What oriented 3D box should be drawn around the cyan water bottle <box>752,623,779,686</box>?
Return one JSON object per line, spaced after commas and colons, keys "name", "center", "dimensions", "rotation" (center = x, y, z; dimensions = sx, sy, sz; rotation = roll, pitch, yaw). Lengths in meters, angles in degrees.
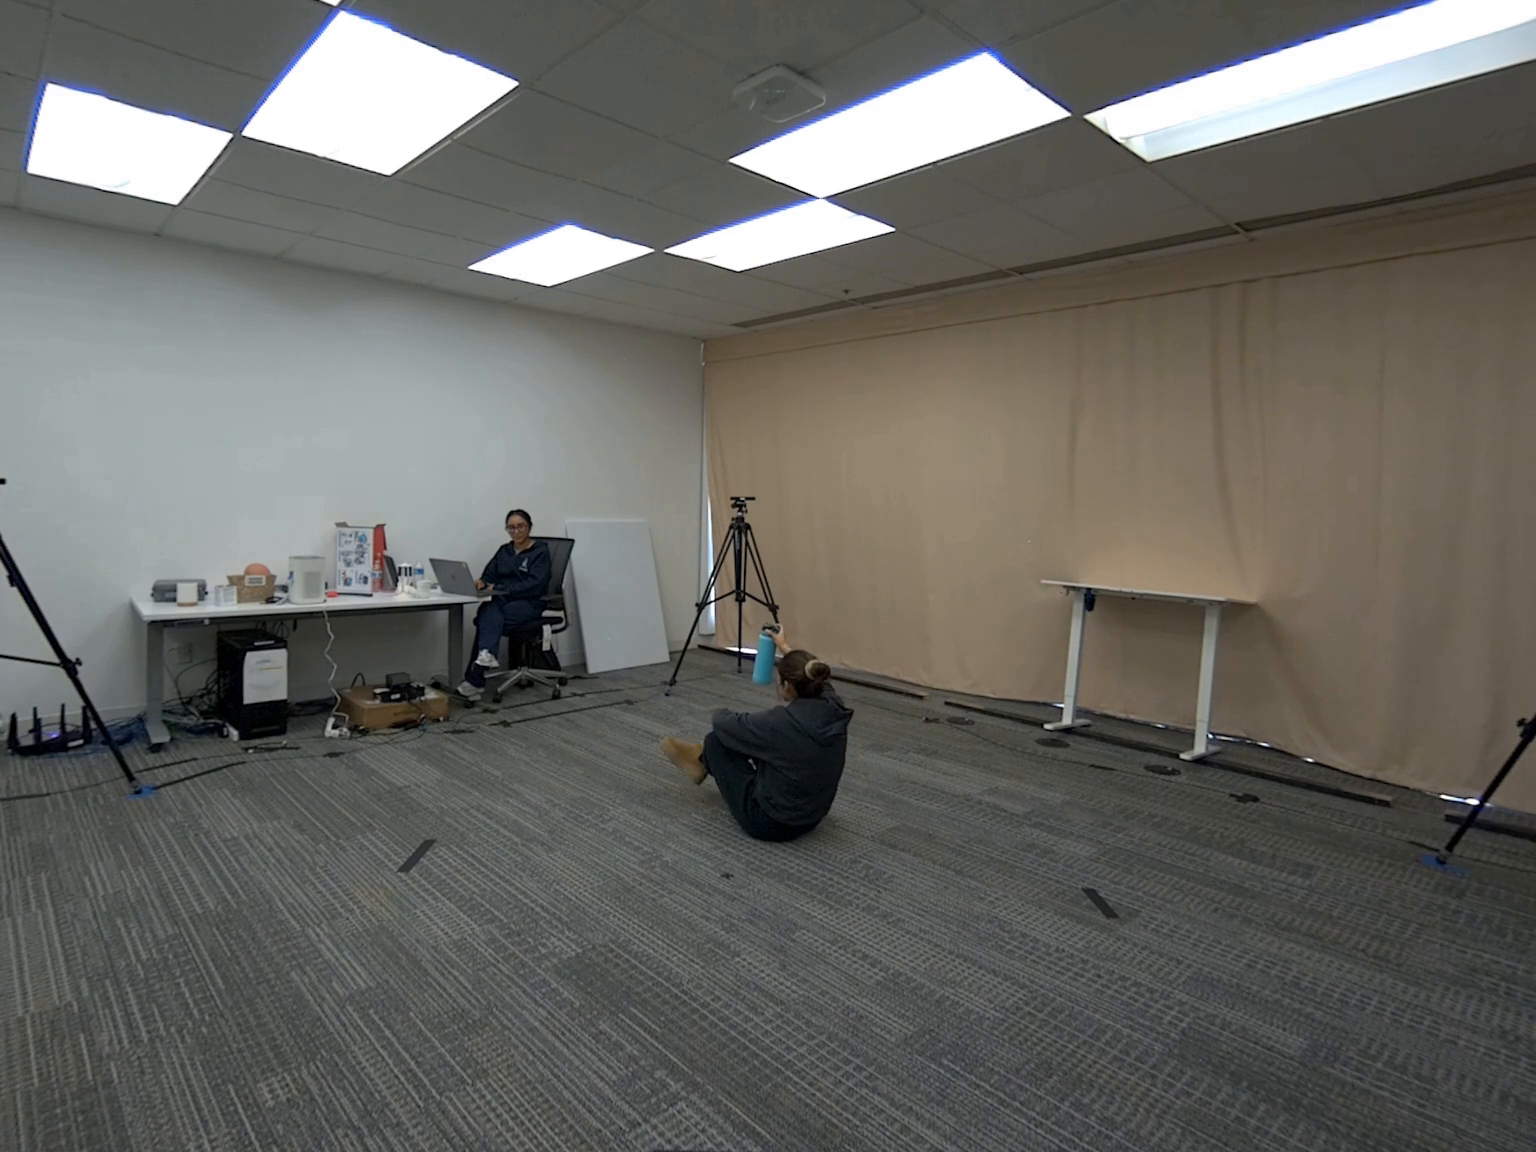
{"name": "cyan water bottle", "center": [-0.026, 0.354, 3.948], "dimensions": [0.092, 0.282, 0.093], "rotation": [9, 8, -3]}
